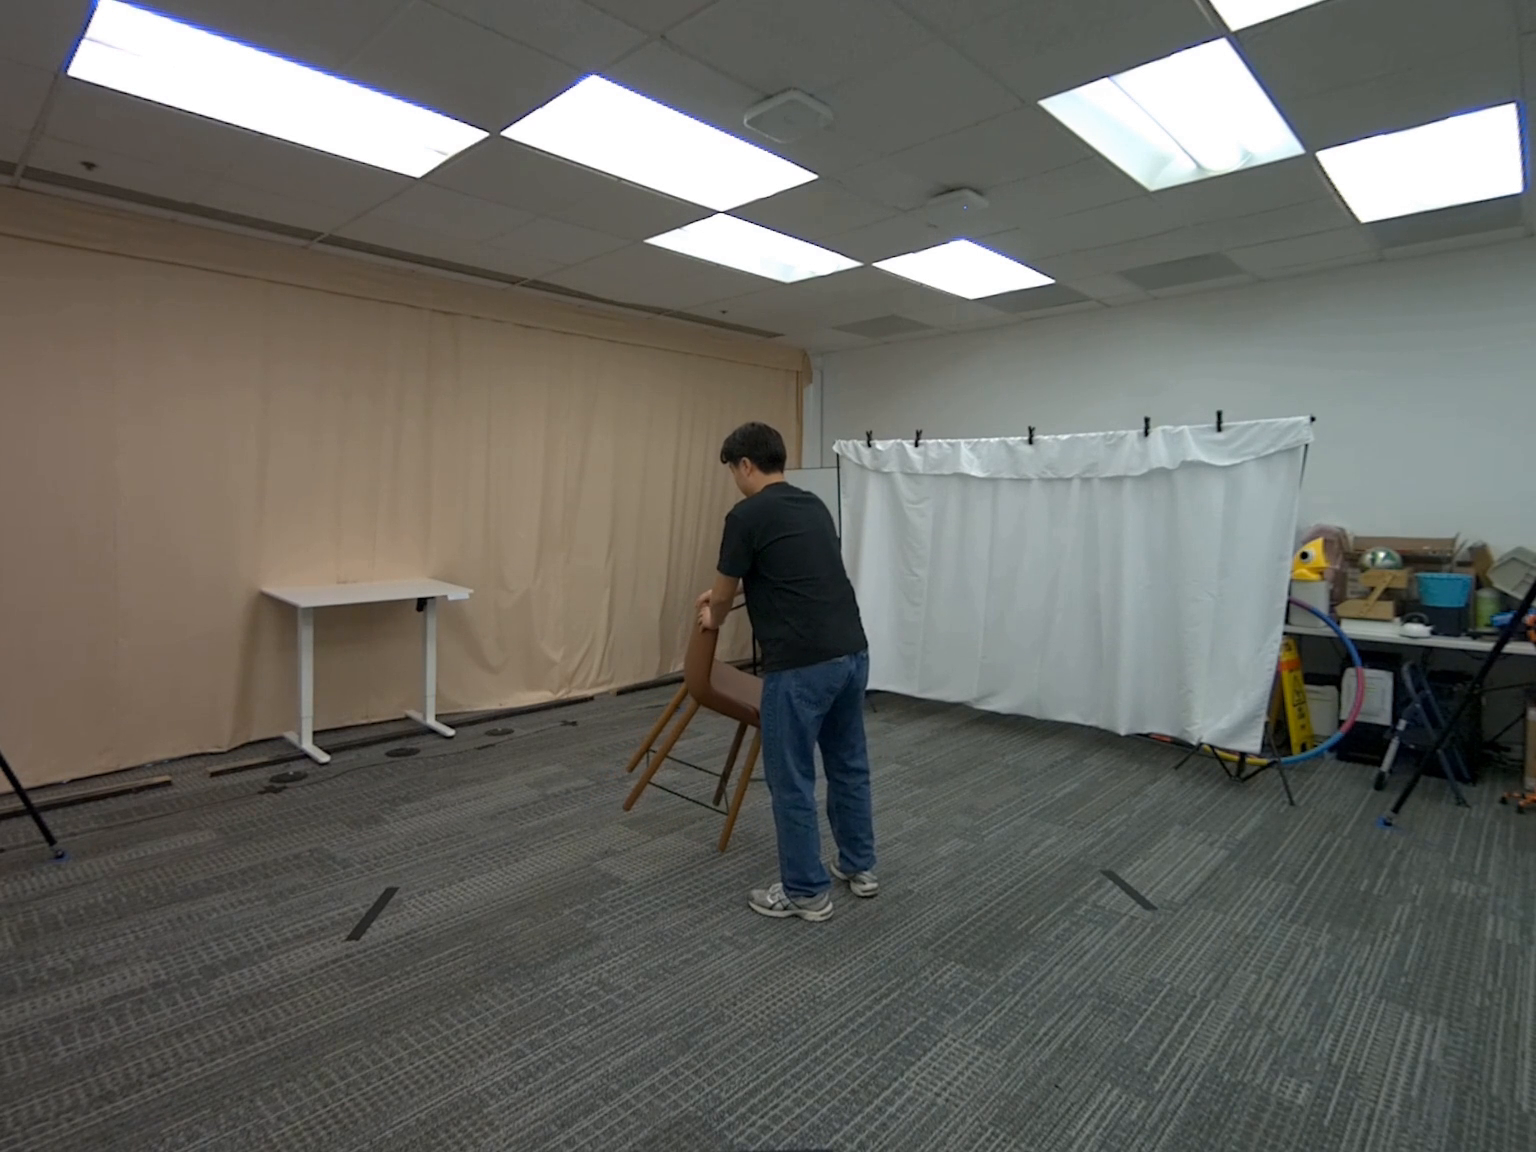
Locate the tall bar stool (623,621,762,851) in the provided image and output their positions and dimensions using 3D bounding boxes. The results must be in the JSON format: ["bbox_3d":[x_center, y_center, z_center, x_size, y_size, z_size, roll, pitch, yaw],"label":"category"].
[{"bbox_3d":[-0.221,0.589,3.500,0.463,0.888,0.462,22,8,-10],"label":"tall bar stool"}]
